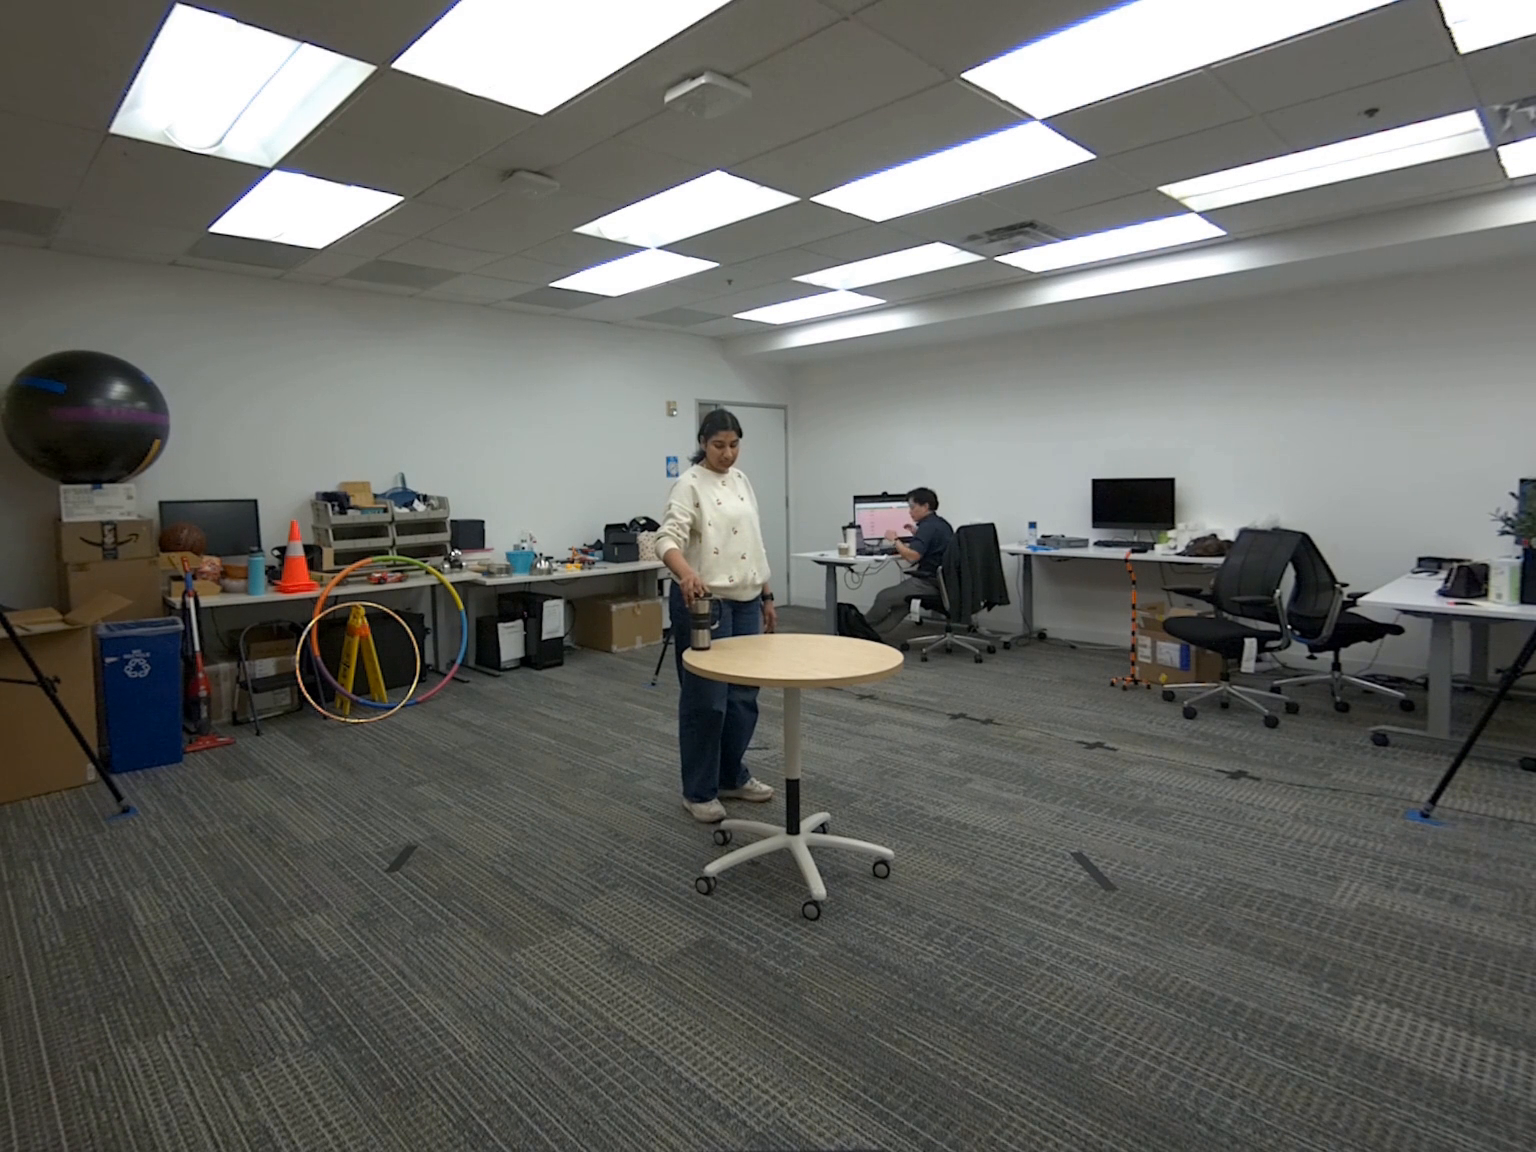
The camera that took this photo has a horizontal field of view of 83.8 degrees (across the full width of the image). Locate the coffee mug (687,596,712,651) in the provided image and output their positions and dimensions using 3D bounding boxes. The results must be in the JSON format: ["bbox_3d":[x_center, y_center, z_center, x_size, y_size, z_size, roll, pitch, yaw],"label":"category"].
[{"bbox_3d":[-0.232,0.167,3.061,0.085,0.203,0.125,1,-2,-38],"label":"coffee mug"}]
